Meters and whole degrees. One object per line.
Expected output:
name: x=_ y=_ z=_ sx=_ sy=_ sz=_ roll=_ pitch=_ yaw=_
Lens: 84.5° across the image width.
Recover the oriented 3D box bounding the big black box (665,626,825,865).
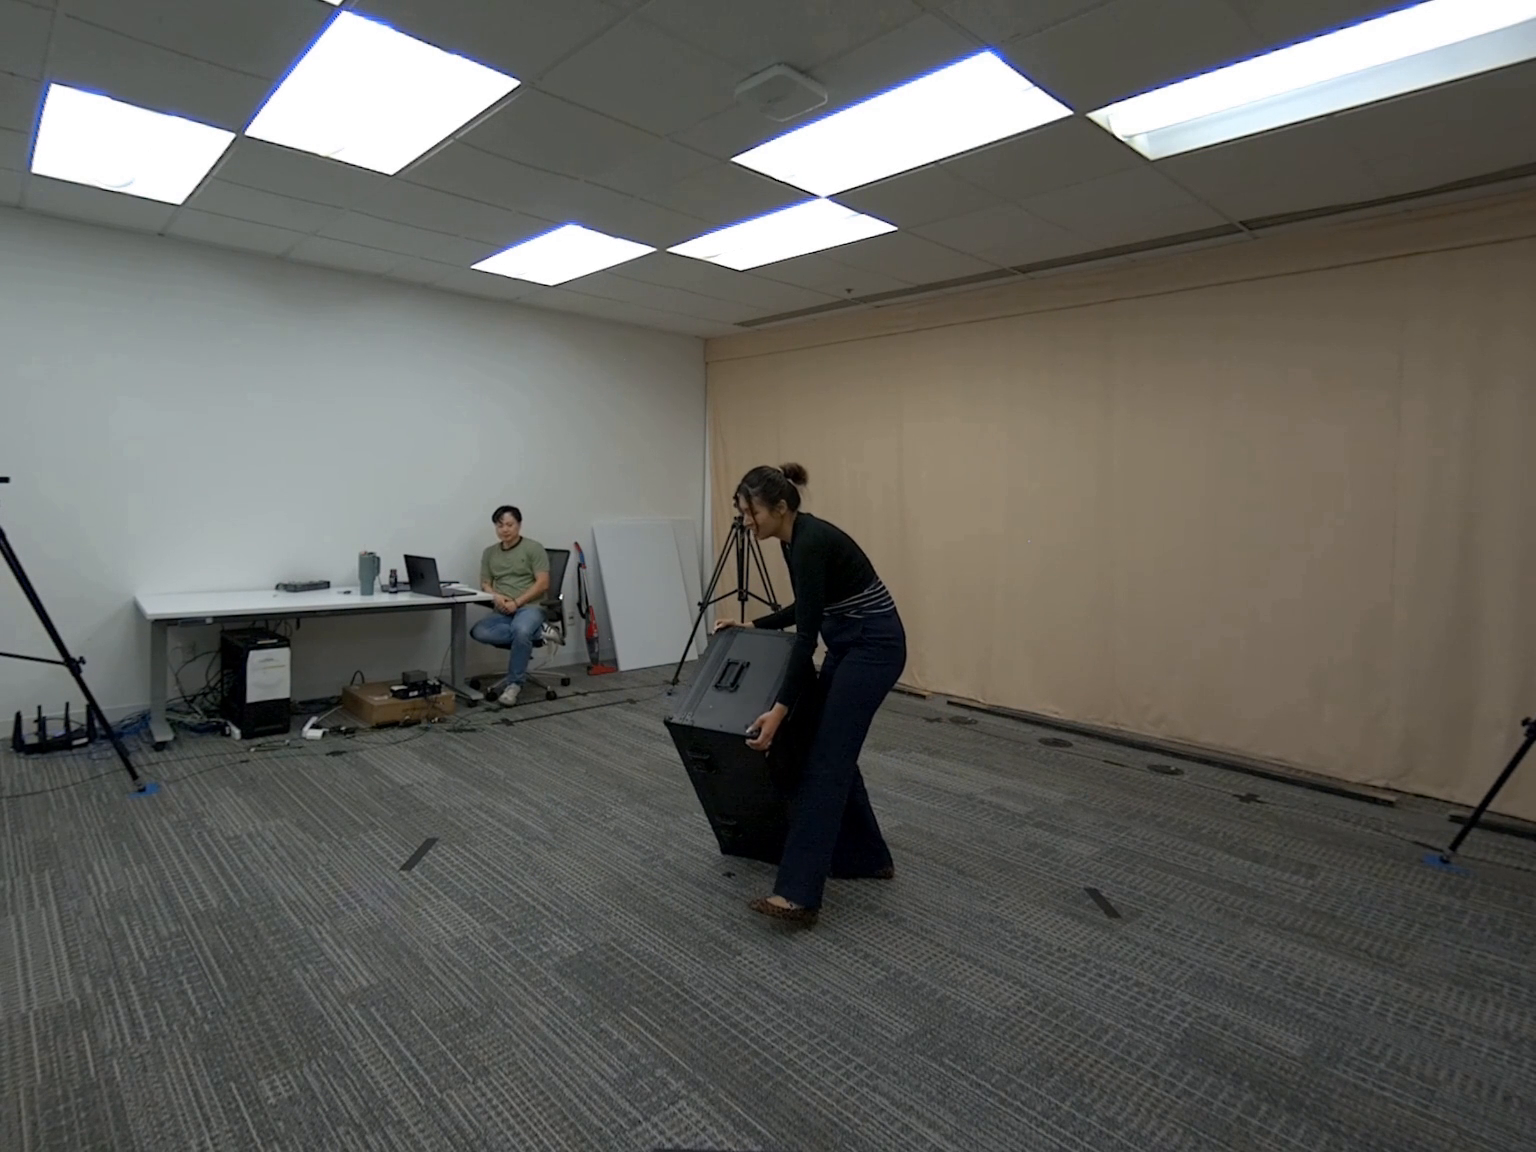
big black box: x=-0.014 y=0.665 z=3.170 sx=0.404 sy=0.839 sz=0.524 roll=5 pitch=41 yaw=25
